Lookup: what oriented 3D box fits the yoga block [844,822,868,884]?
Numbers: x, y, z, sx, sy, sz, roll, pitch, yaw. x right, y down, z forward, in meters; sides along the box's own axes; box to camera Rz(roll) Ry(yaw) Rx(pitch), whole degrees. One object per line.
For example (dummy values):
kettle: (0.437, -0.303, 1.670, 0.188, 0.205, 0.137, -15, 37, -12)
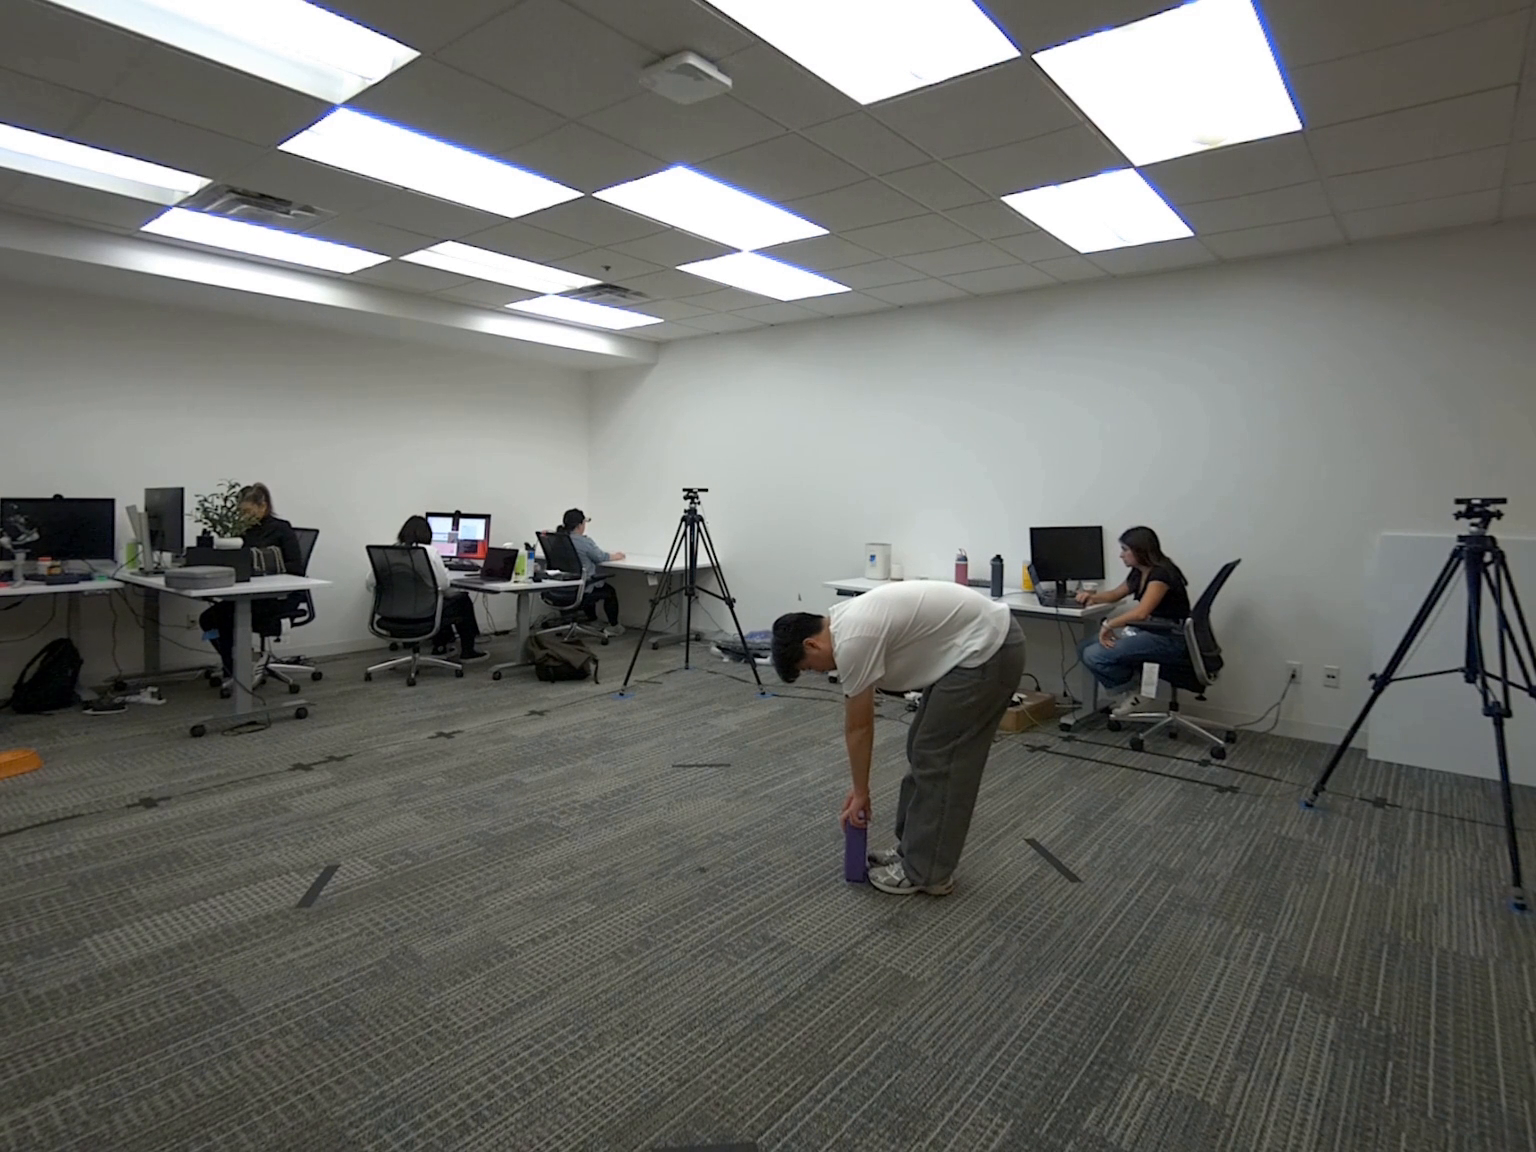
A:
yoga block: (0.323, 0.971, 3.111, 0.077, 0.229, 0.149, 1, 3, 3)
